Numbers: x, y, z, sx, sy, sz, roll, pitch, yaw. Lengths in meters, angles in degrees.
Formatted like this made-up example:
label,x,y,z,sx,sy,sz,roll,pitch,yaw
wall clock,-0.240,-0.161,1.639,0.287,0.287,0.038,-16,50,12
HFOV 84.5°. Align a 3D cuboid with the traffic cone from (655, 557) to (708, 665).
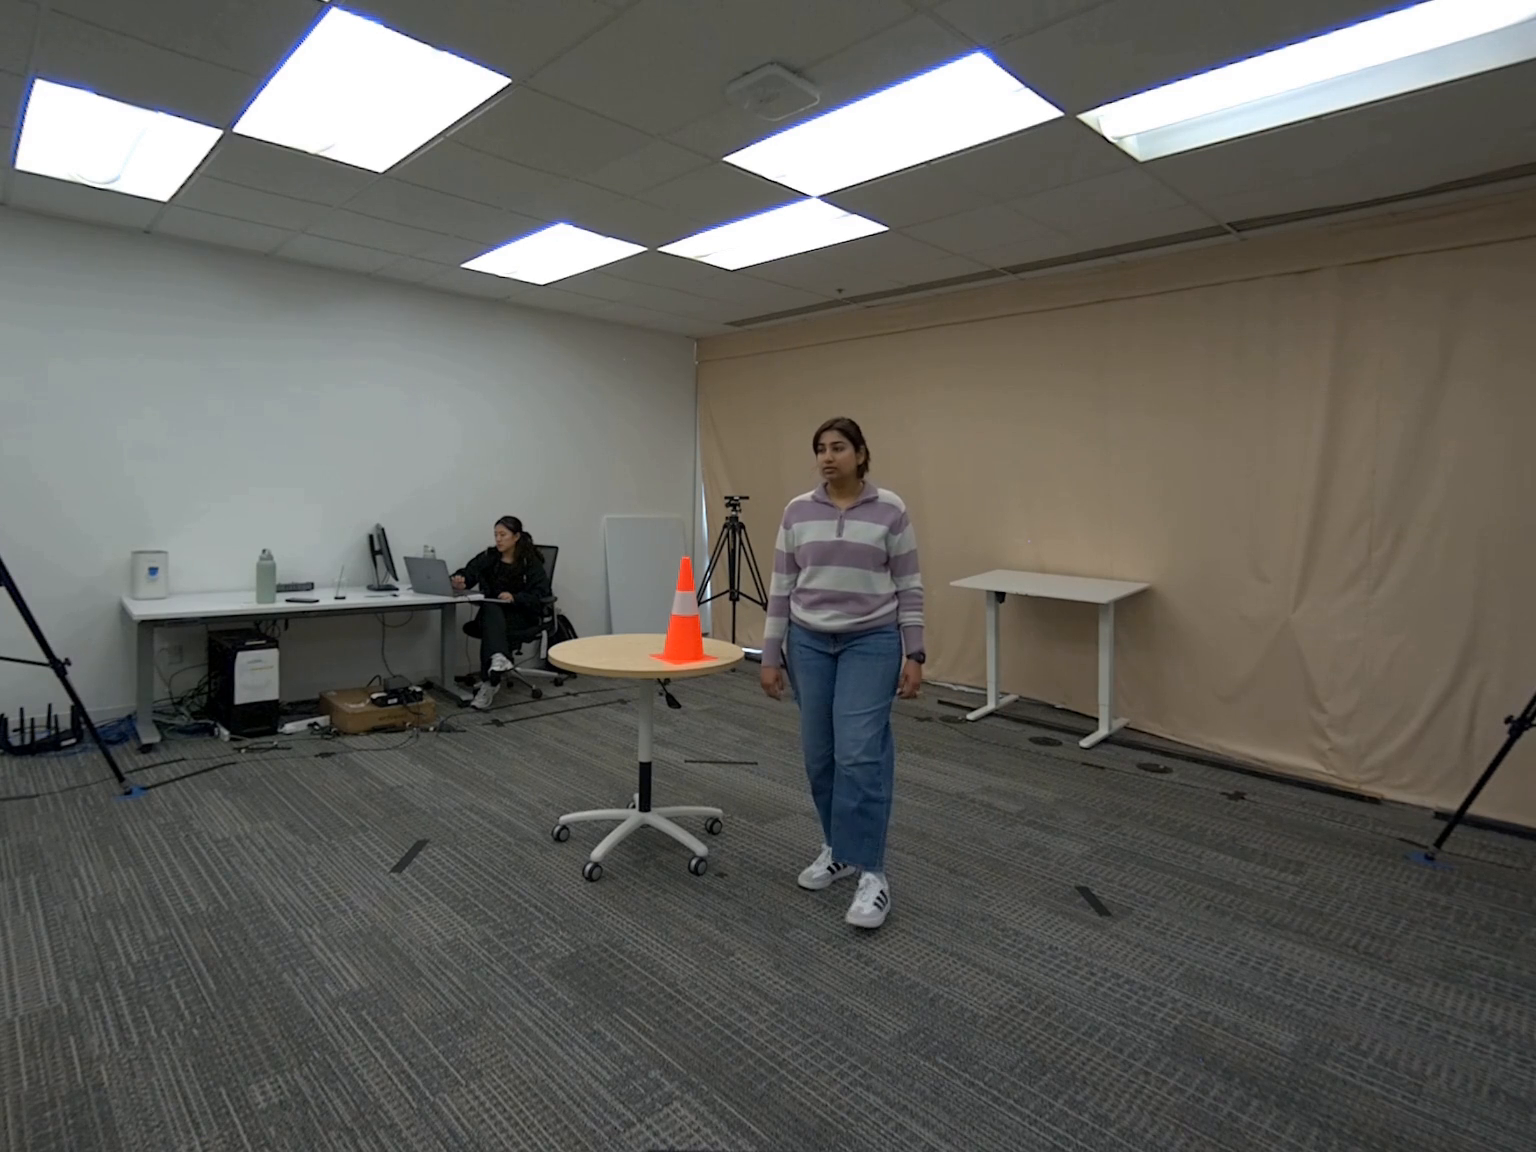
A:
label,x,y,z,sx,sy,sz,roll,pitch,yaw
traffic cone,-0.314,0.121,3.173,0.210,0.382,0.199,6,7,42
